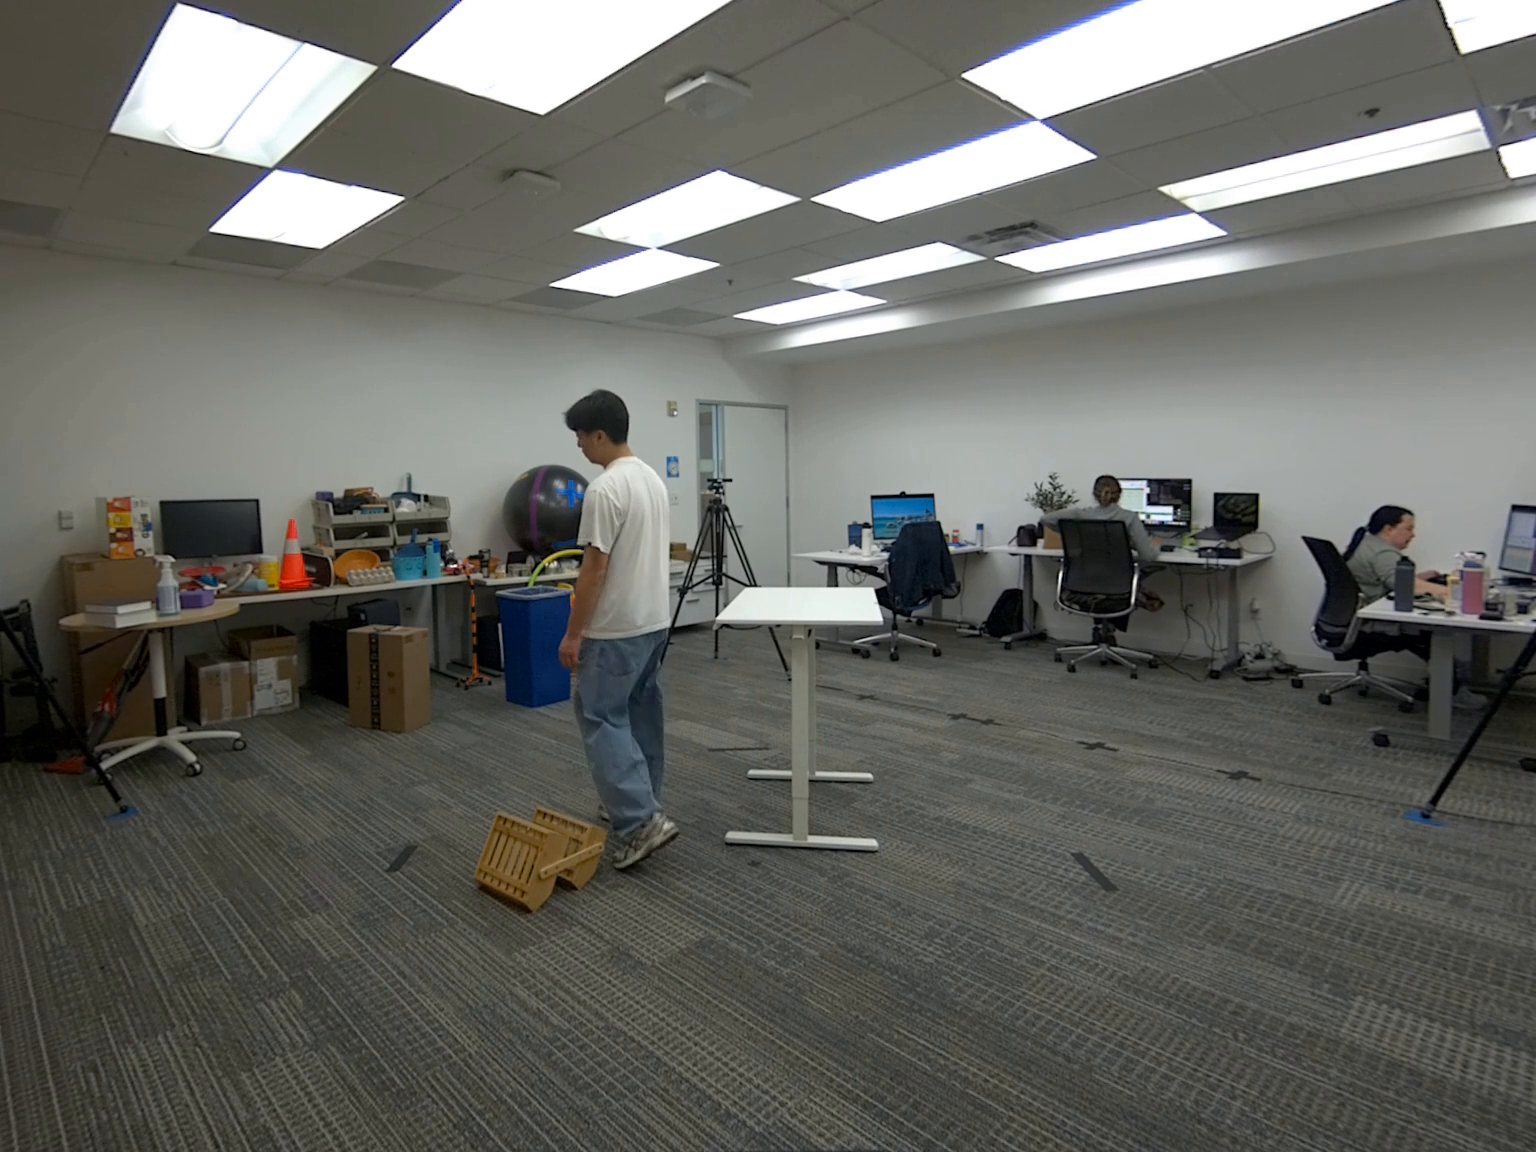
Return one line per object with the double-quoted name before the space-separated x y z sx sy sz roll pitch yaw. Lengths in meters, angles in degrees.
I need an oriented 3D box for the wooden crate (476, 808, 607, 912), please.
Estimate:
"wooden crate" -0.791 0.984 2.991 0.334 0.305 0.263 3 -21 39
